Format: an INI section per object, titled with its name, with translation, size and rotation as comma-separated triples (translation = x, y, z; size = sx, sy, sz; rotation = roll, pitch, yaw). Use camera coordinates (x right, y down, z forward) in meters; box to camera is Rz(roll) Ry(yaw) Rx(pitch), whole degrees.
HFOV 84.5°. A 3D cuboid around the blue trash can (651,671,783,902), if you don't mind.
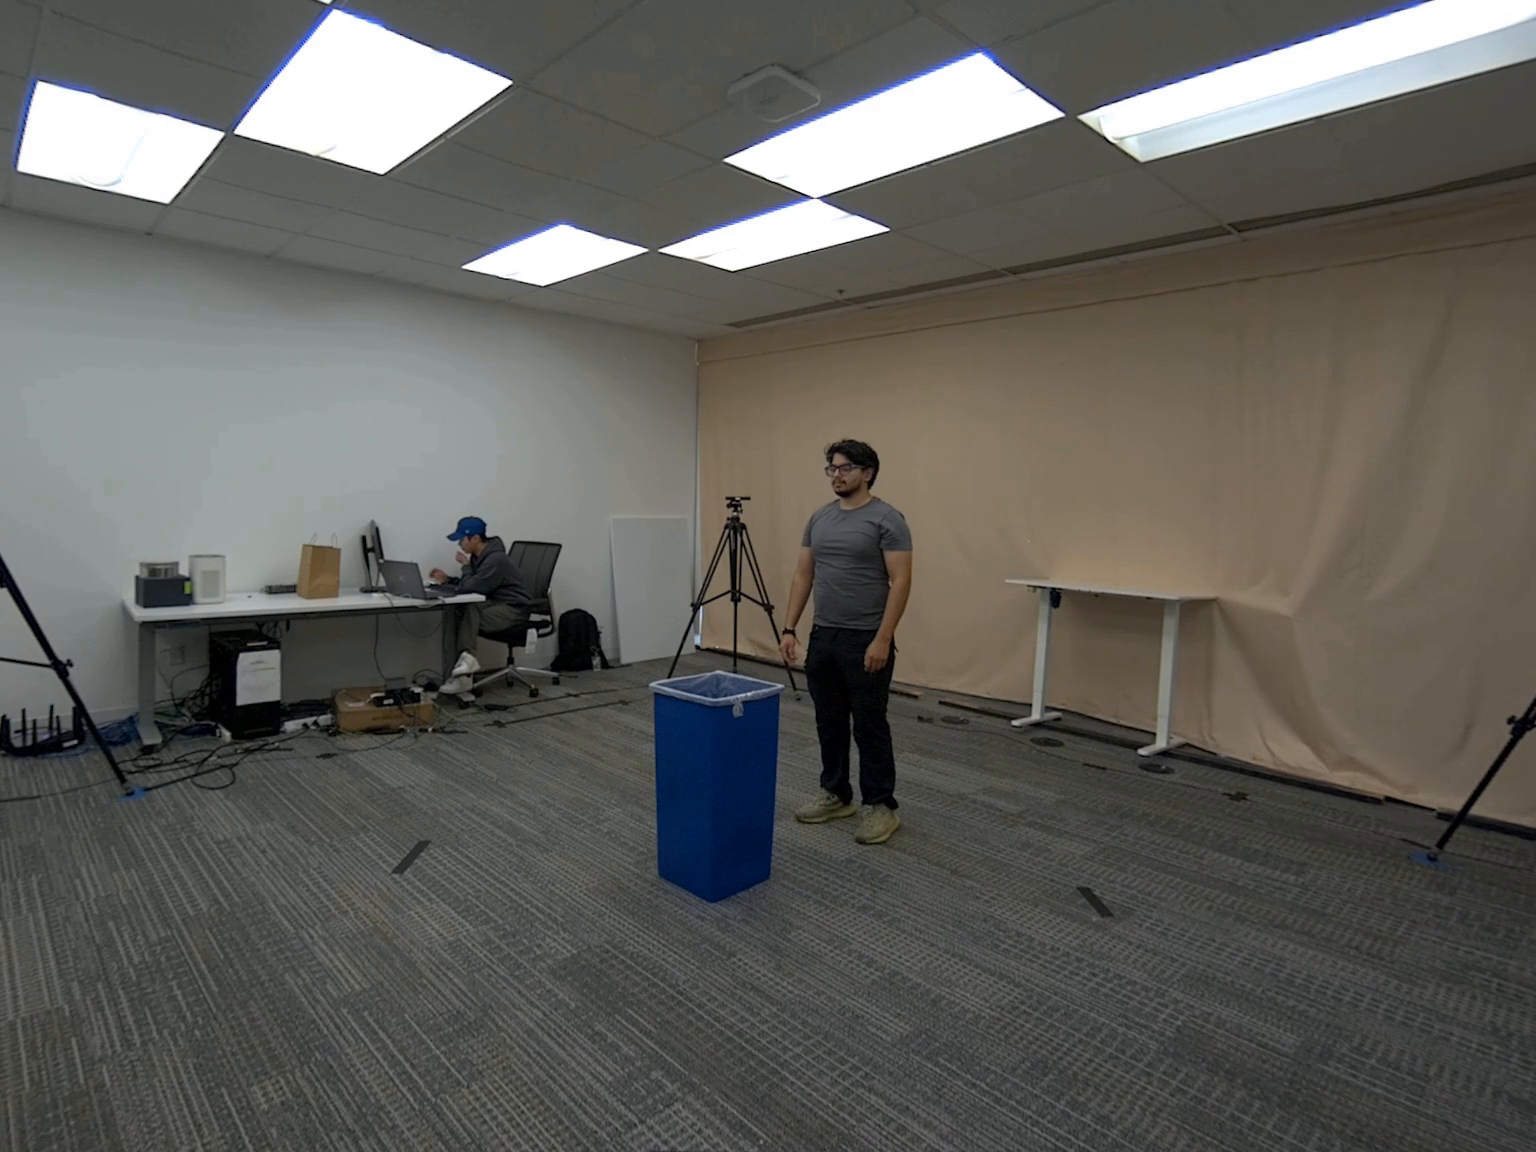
[blue trash can]
translation = -0.195, 0.749, 3.085
size = 0.387, 0.712, 0.365
rotation = 4, 5, 43
